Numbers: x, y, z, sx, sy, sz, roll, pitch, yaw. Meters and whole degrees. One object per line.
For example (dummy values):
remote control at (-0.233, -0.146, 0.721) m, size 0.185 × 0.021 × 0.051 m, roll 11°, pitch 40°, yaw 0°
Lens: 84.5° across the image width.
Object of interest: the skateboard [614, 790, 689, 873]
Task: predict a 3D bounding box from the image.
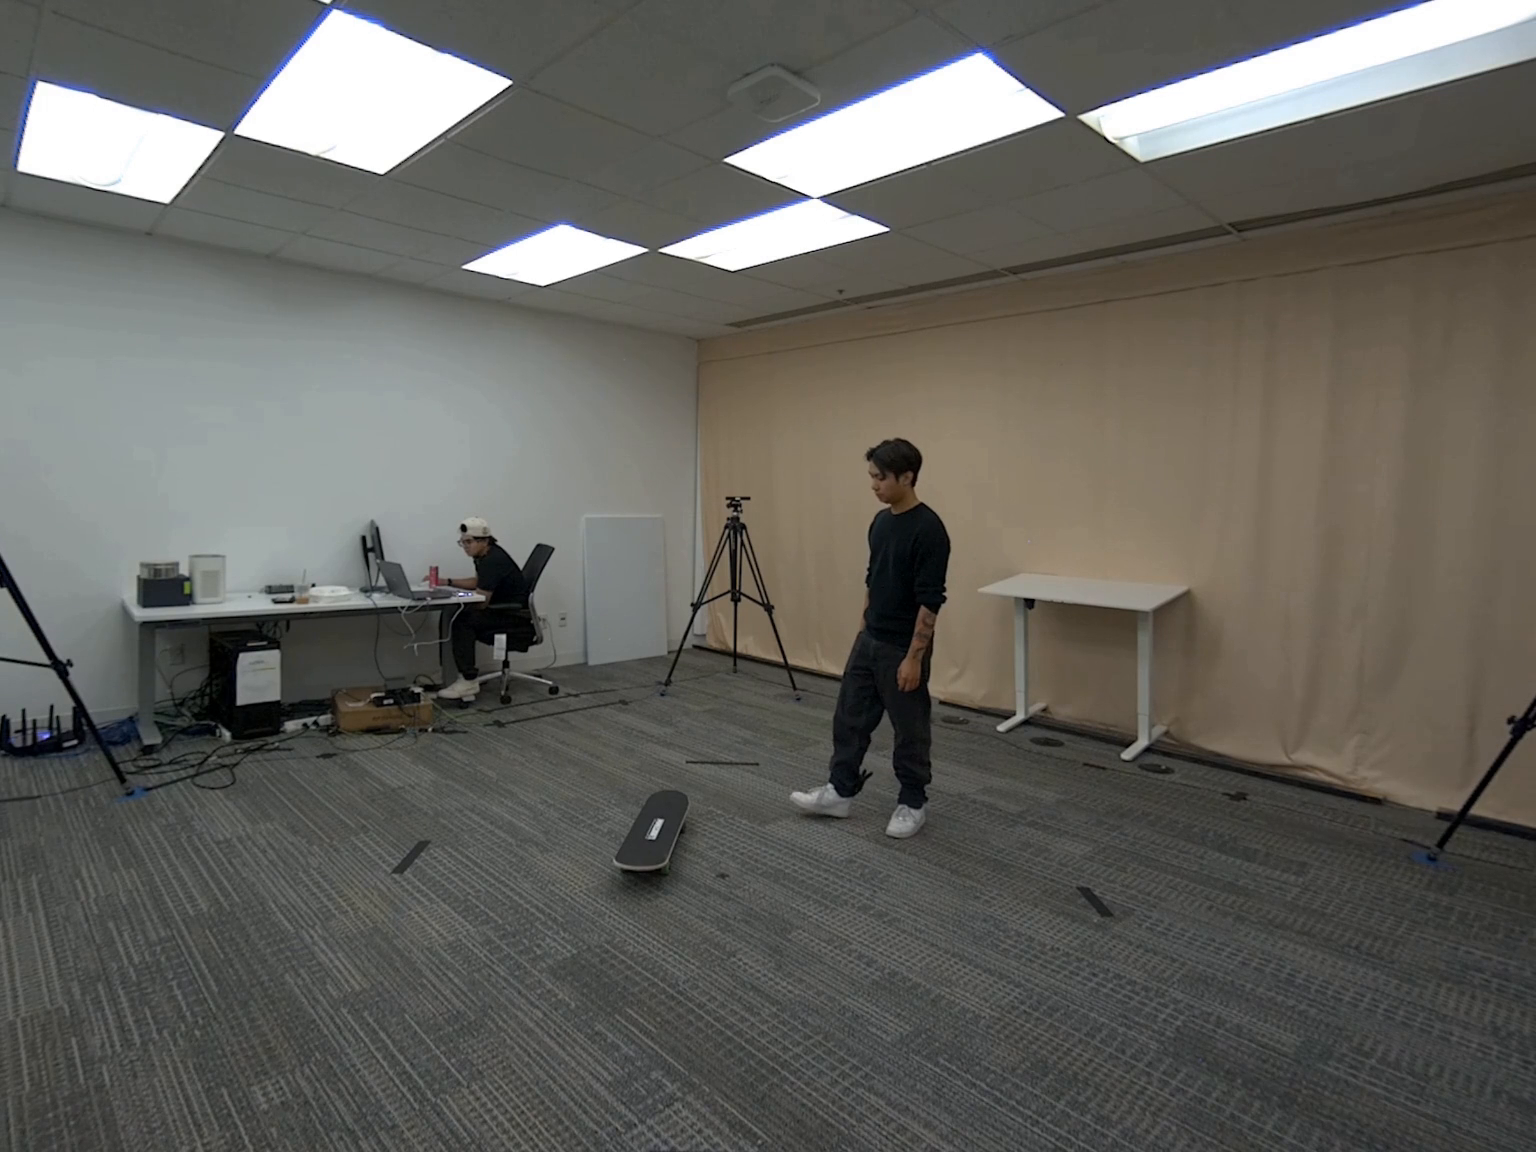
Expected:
skateboard at (-0.455, 1.026, 3.306) m, size 0.194 × 0.110 × 0.785 m, roll 1°, pitch 5°, yaw 2°
